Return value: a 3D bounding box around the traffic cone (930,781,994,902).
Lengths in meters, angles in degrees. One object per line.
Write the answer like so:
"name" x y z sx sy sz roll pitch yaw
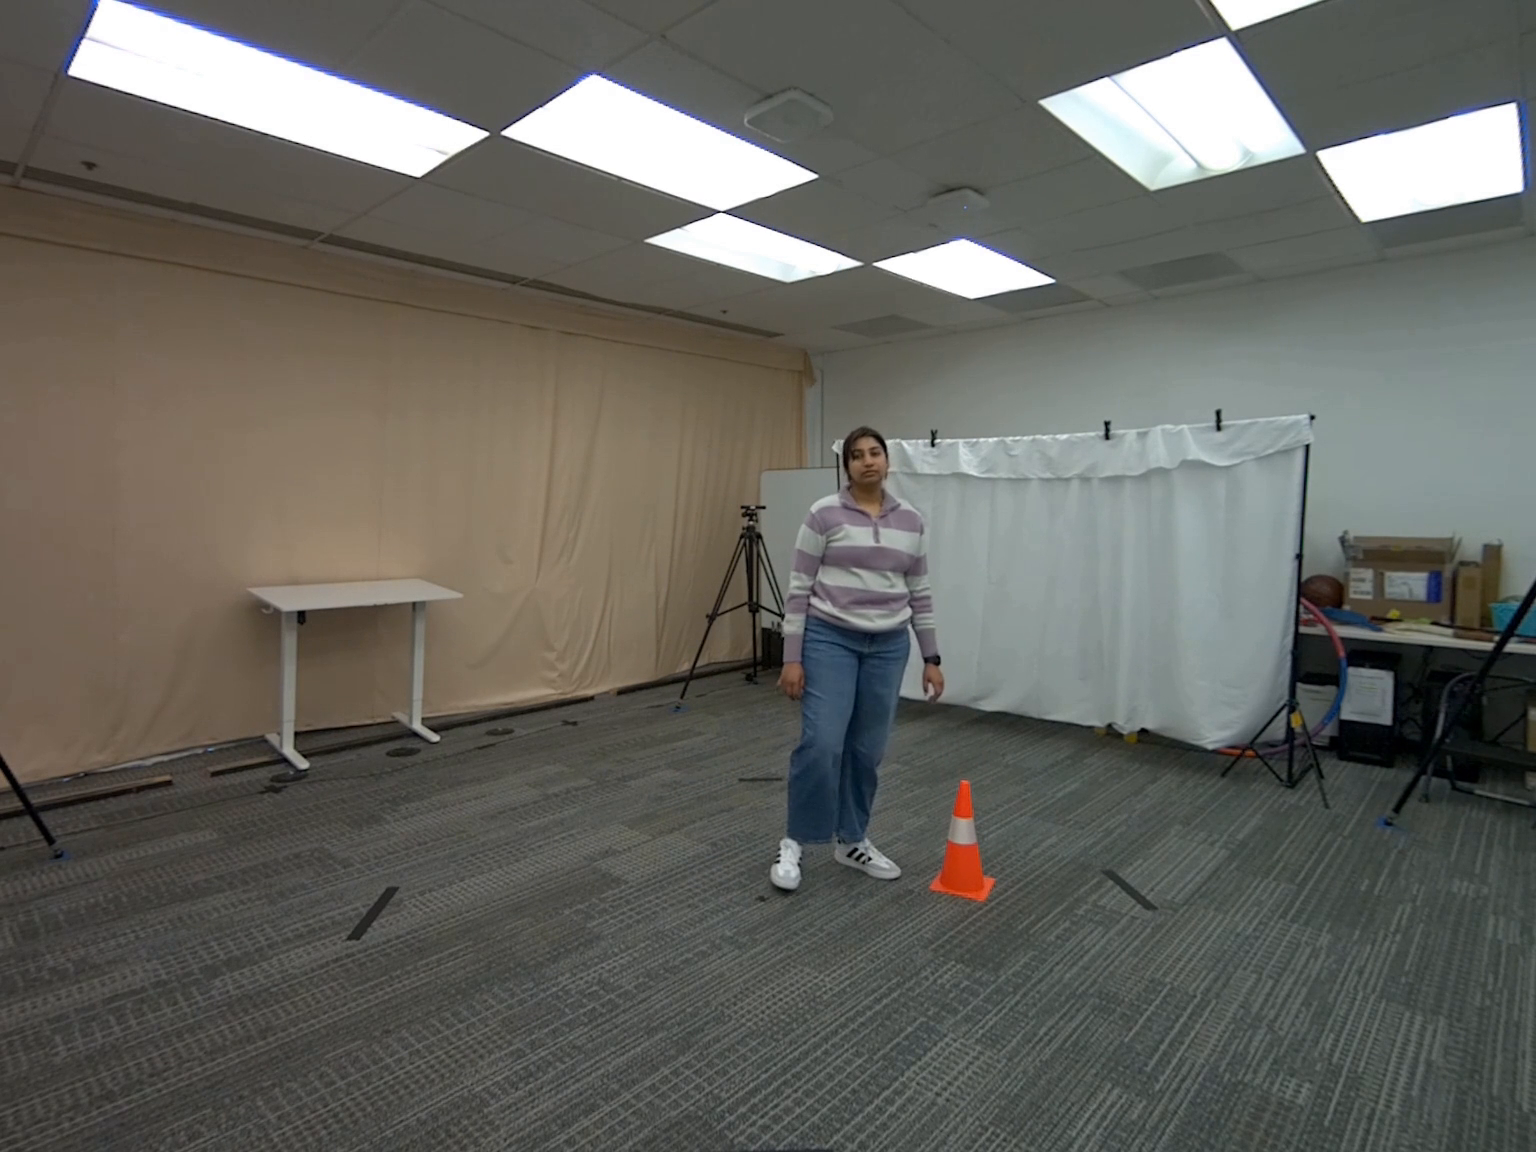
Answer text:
"traffic cone" 0.716 0.950 3.089 0.211 0.383 0.197 1 2 32
